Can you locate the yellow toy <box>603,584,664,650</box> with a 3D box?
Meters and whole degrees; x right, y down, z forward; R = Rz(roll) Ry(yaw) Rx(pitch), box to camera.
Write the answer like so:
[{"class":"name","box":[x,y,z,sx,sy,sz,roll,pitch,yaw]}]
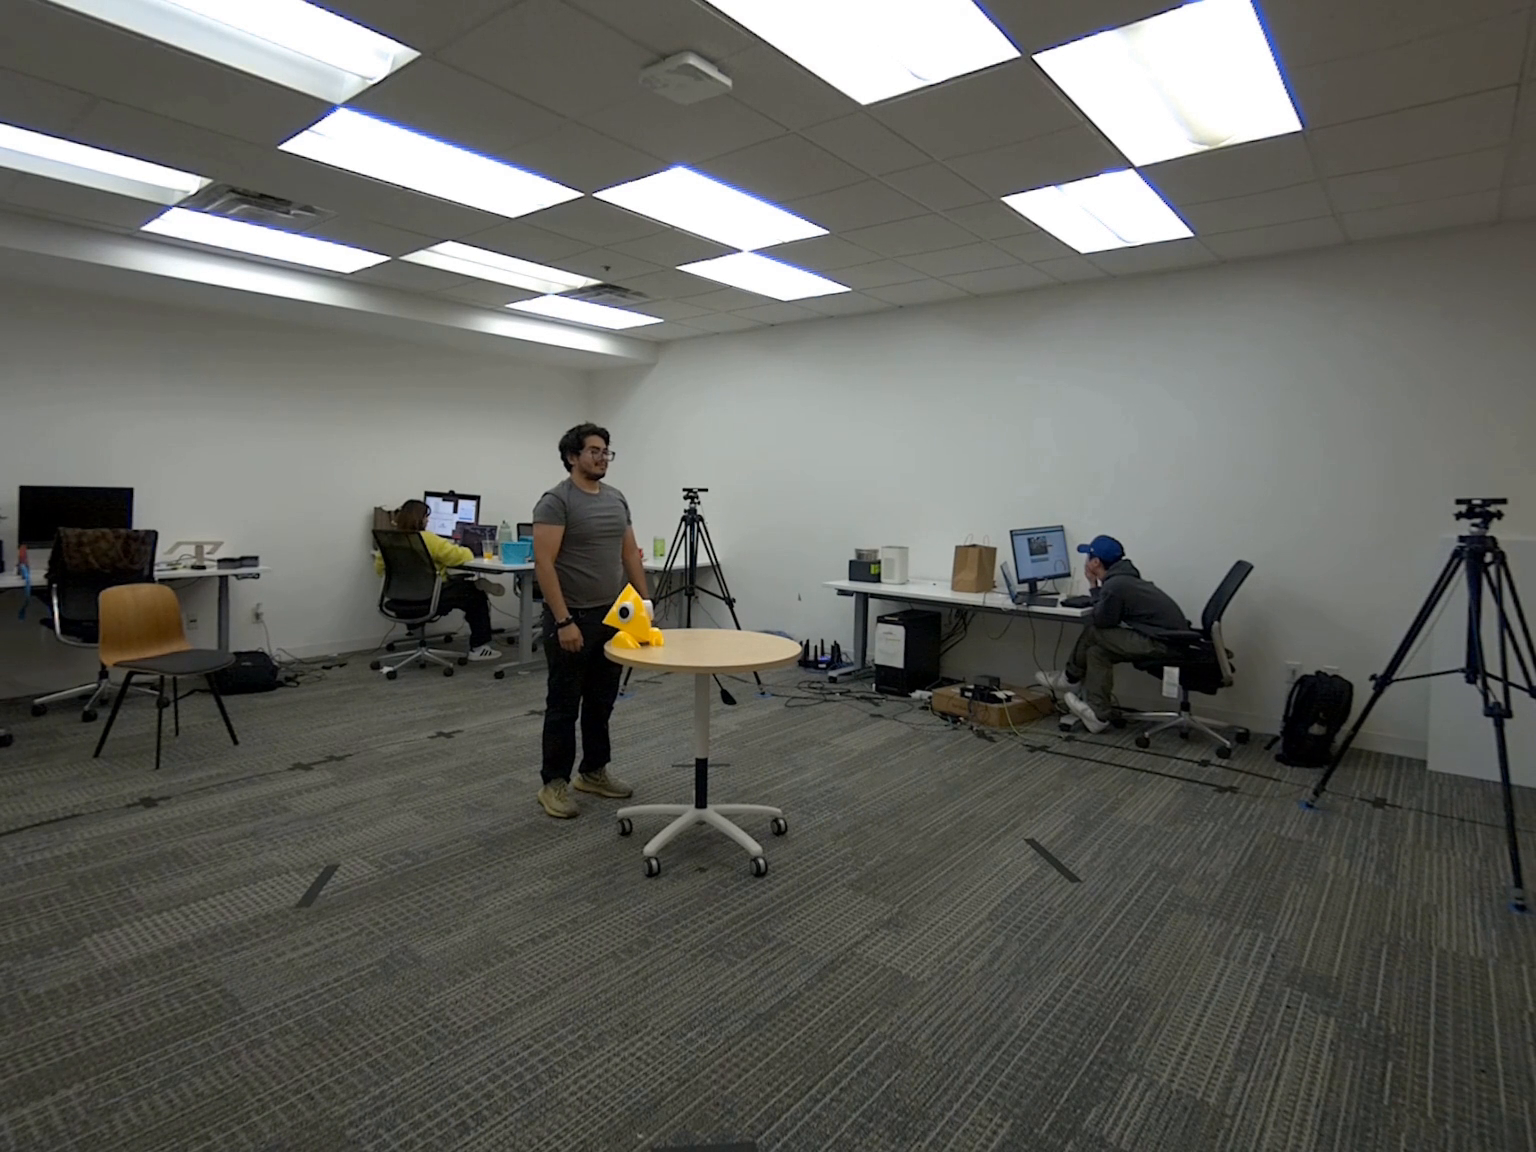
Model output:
[{"class":"yellow toy","box":[-0.527,0.148,3.330,0.199,0.230,0.199,-3,6,-39]}]
